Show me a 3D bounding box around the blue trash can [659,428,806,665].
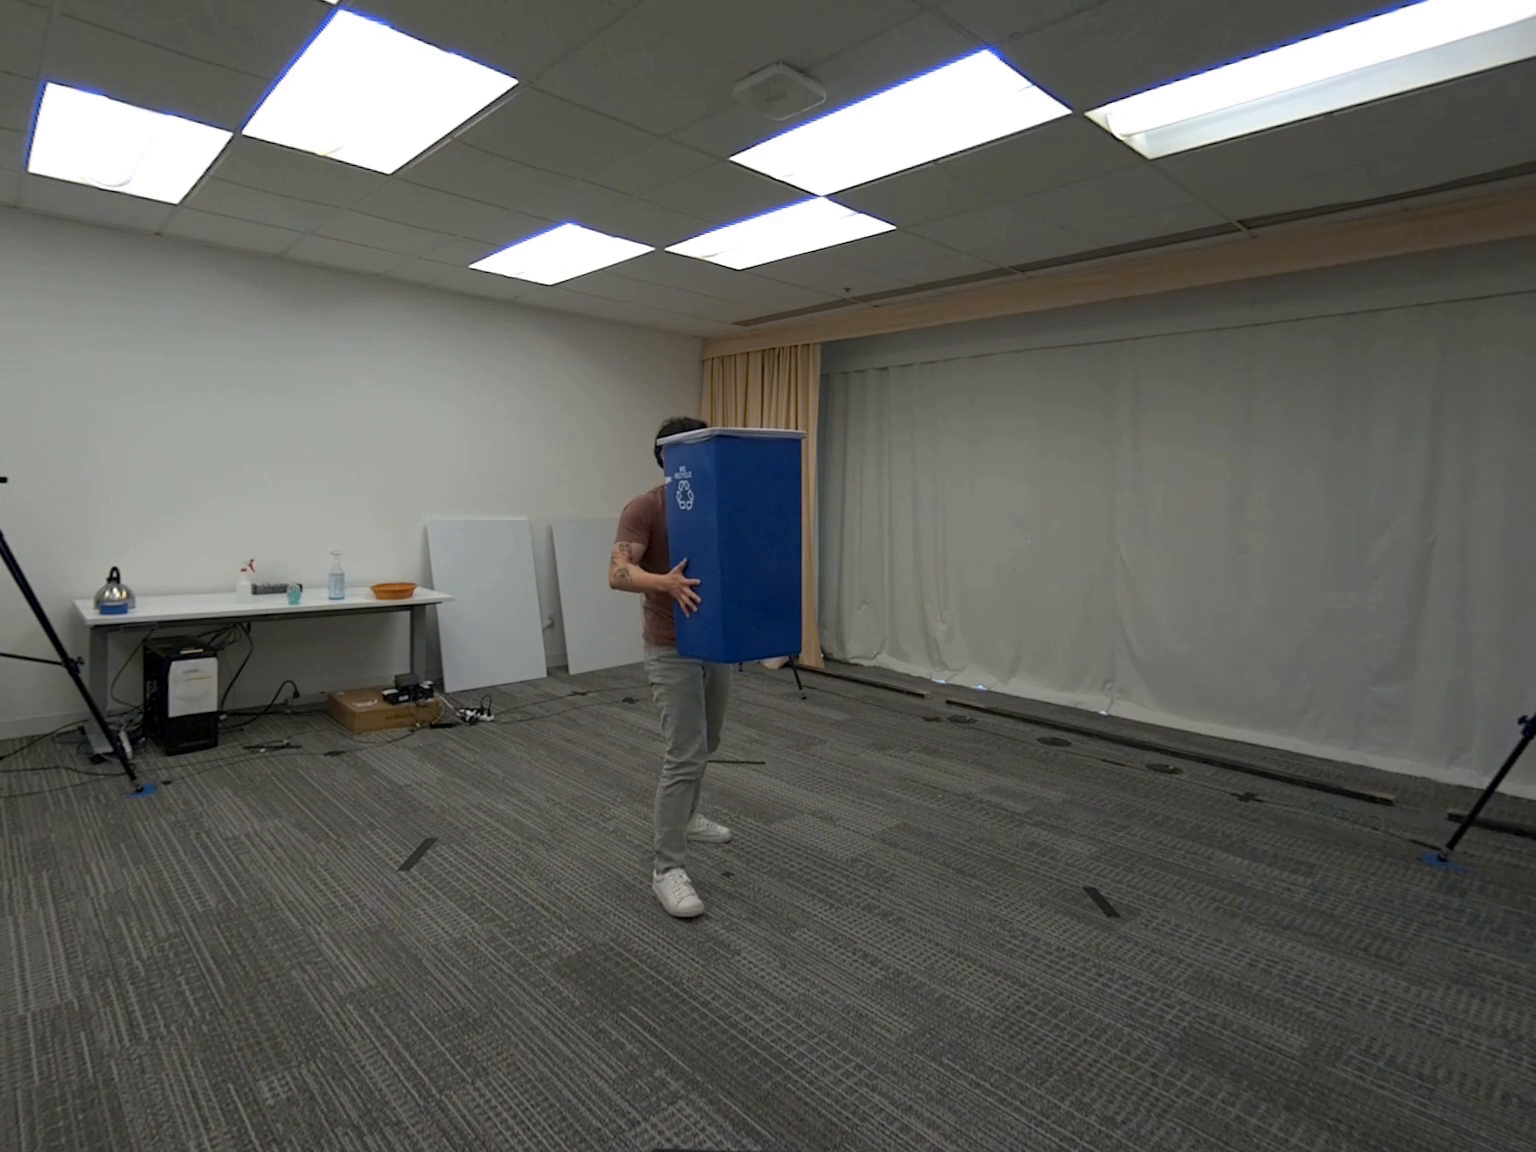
[{"bbox_3d":[-0.106,-0.105,2.726,0.370,0.713,0.382,-3,2,-34],"label":"blue trash can"}]
